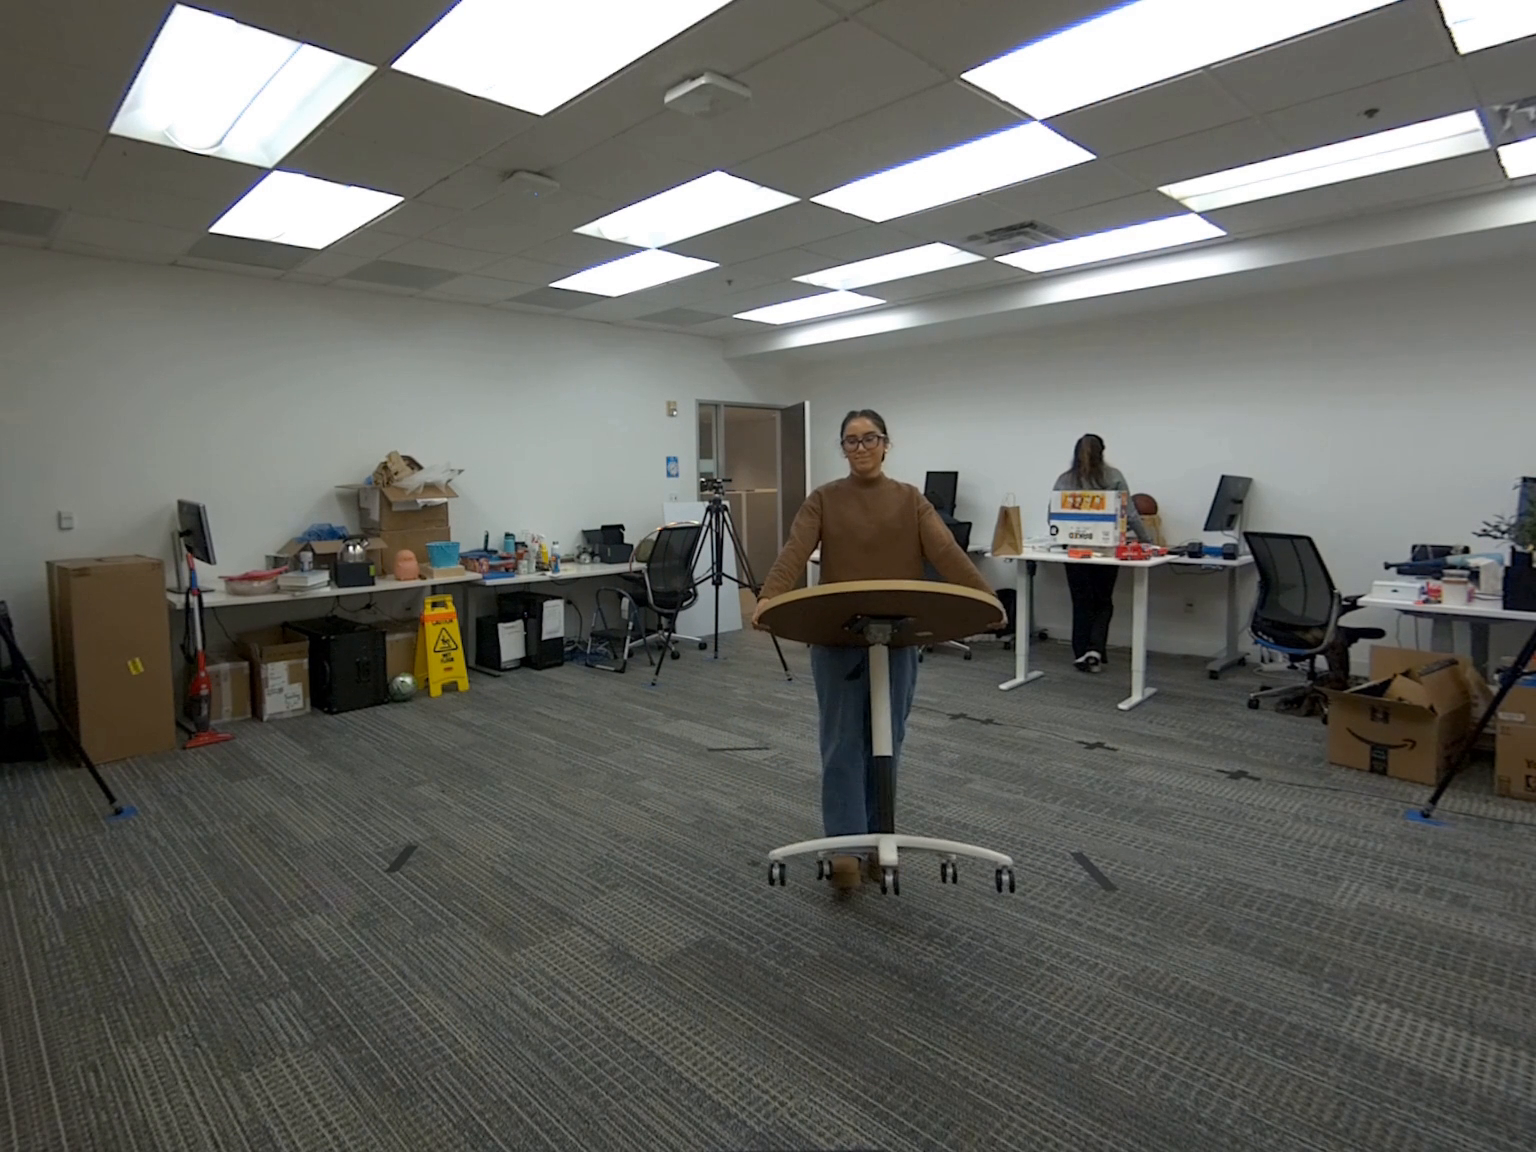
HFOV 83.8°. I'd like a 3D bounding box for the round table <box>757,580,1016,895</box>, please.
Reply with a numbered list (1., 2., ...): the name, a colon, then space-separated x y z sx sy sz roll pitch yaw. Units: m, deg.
1. round table: 0.357 0.509 2.572 0.784 0.799 0.773 0 -17 -2
